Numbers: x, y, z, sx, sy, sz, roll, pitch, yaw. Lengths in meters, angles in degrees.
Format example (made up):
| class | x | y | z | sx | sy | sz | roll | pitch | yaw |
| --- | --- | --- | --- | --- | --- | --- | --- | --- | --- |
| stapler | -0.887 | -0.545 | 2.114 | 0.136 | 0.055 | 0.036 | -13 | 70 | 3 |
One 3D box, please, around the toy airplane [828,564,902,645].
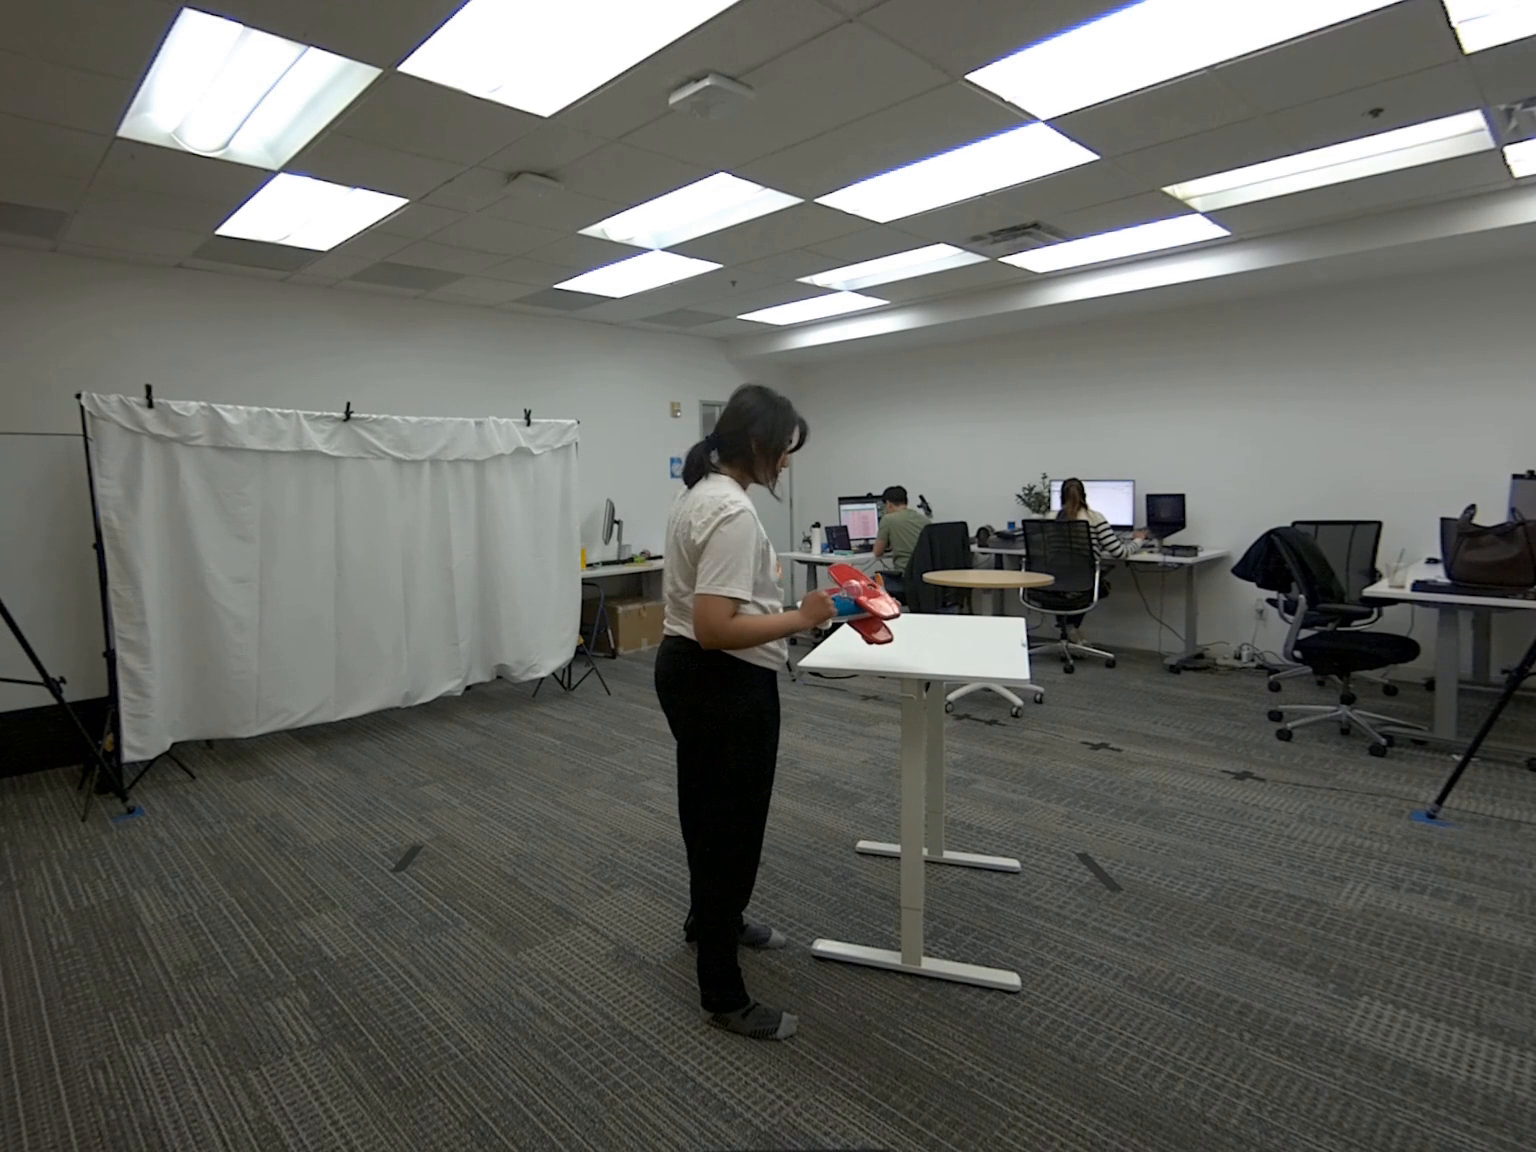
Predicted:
| class | x | y | z | sx | sy | sz | roll | pitch | yaw |
| --- | --- | --- | --- | --- | --- | --- | --- | --- | --- |
| toy airplane | 0.210 | 0.100 | 2.244 | 0.258 | 0.155 | 0.255 | 31 | 23 | 20 |
